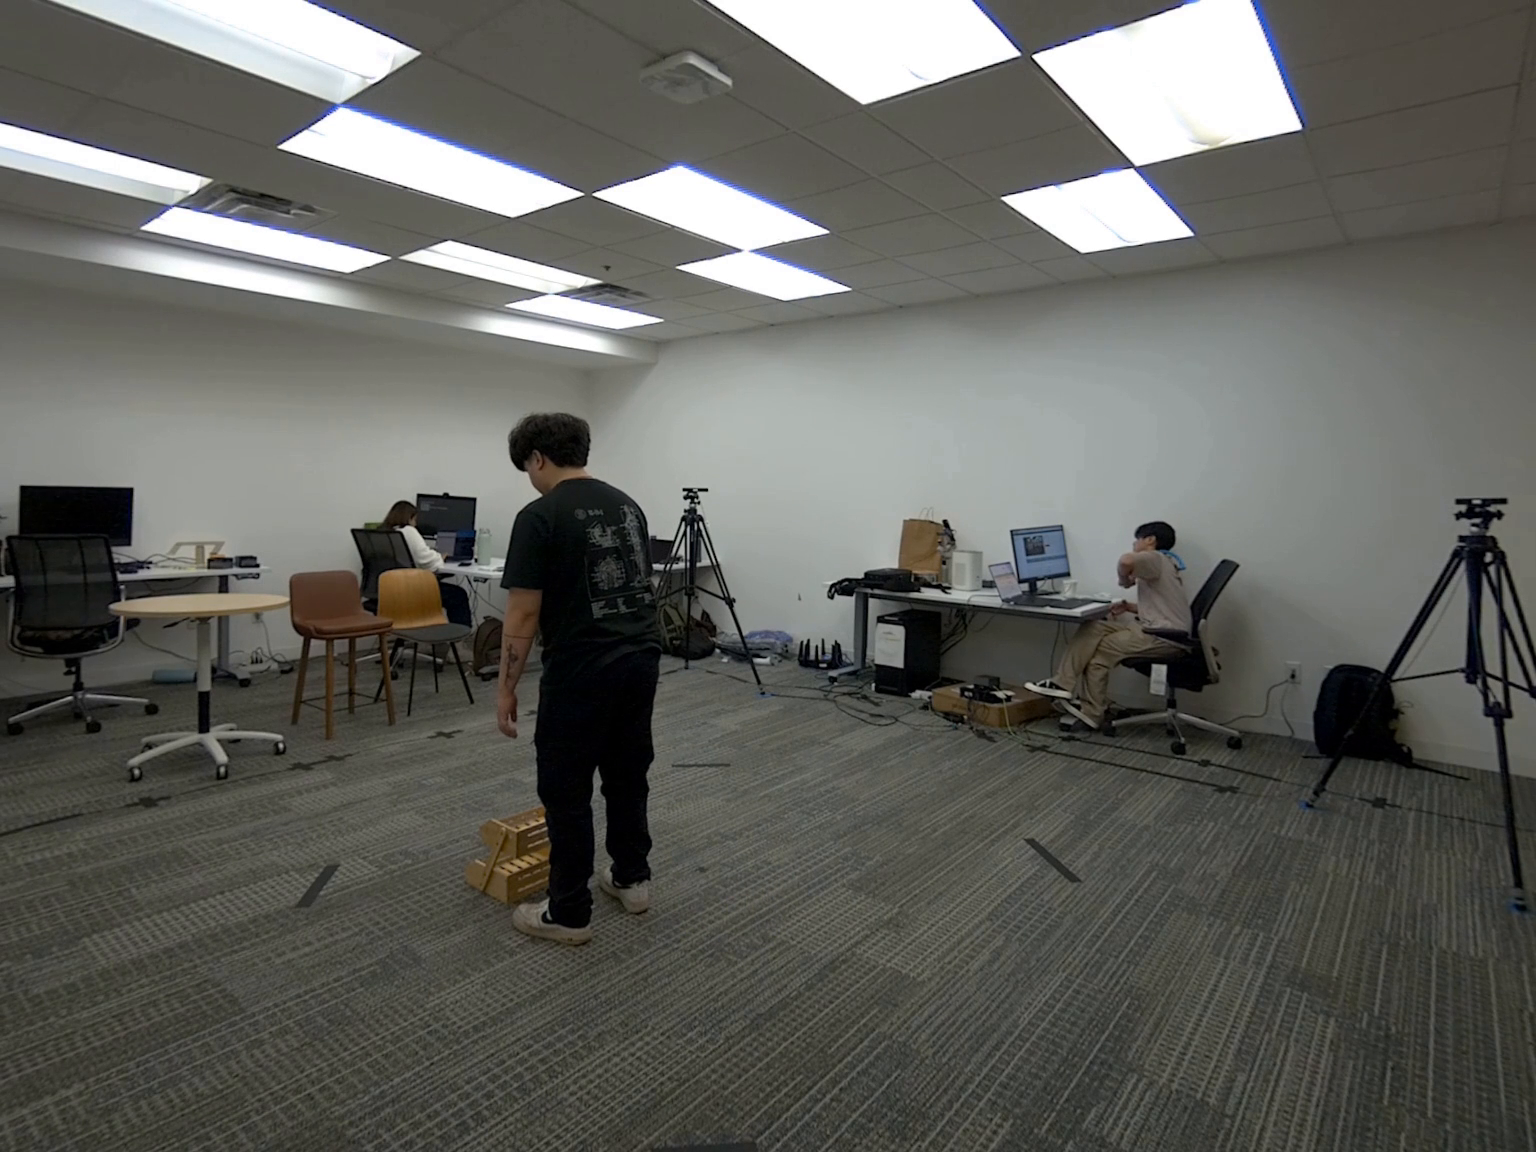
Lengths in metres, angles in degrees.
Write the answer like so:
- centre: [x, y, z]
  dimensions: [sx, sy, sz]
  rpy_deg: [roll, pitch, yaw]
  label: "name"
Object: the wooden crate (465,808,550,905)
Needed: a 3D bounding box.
- centre: [-0.874, 0.936, 2.993]
  dimensions: [0.312, 0.272, 0.315]
  rpy_deg: [6, 7, 37]
  label: "wooden crate"
